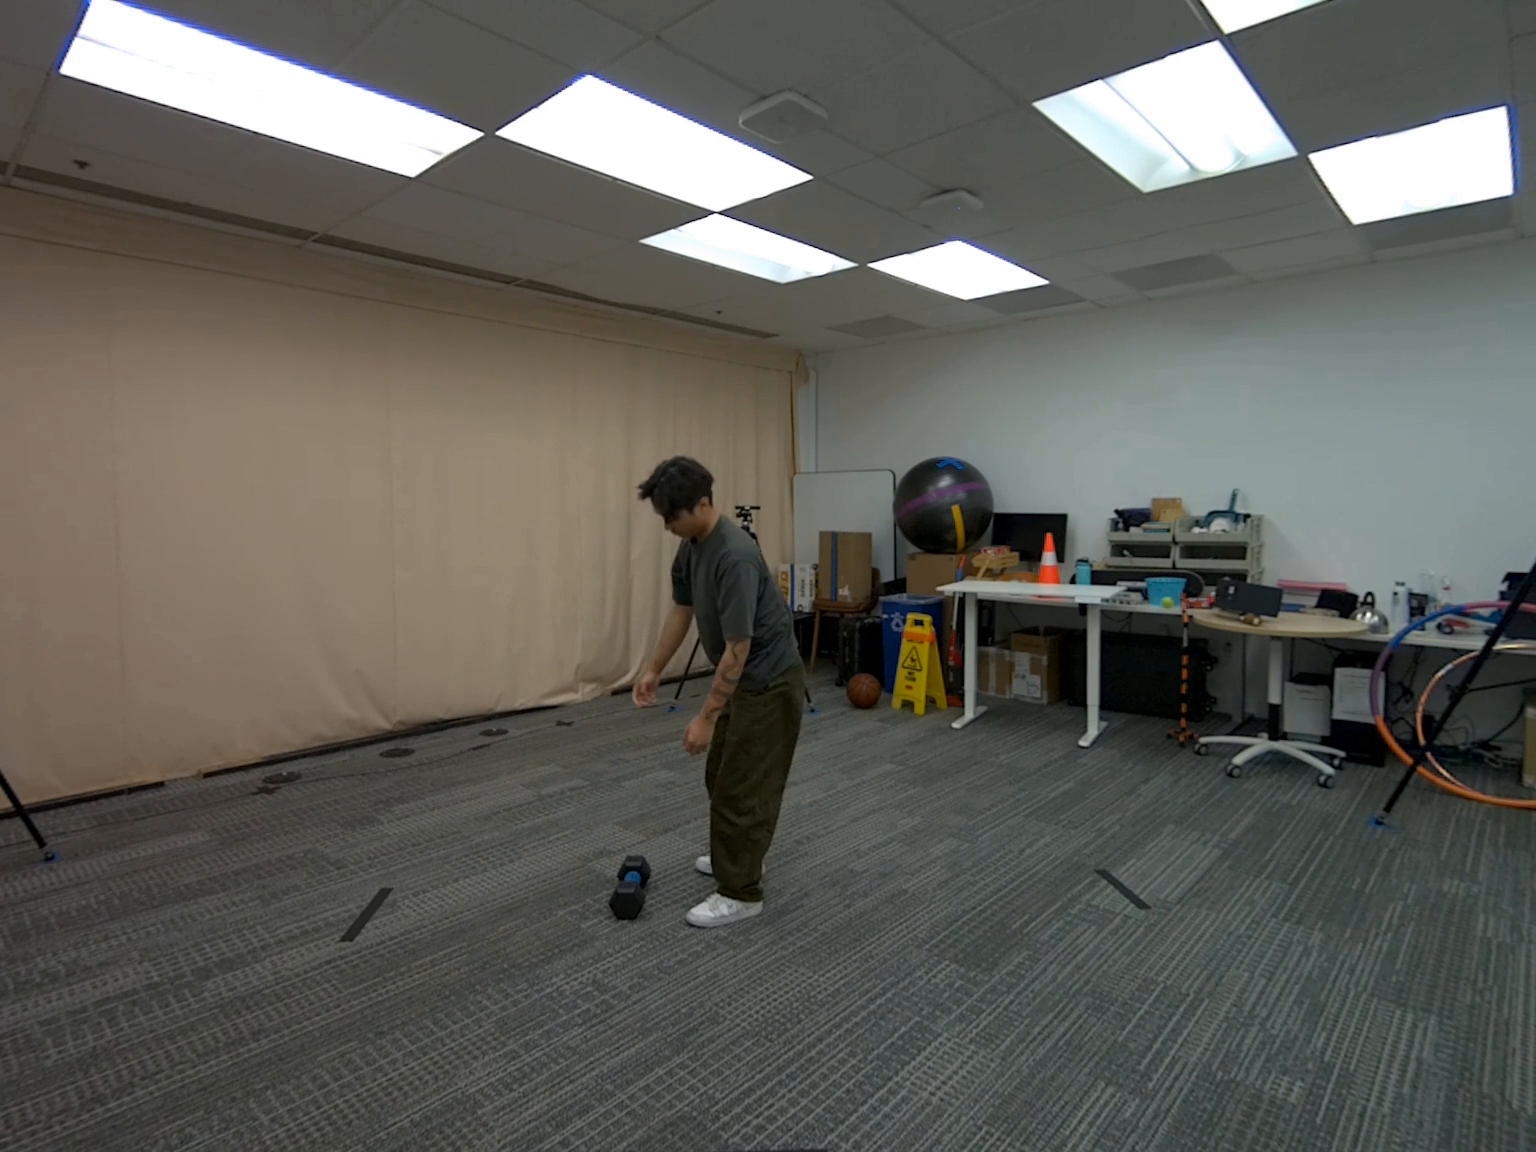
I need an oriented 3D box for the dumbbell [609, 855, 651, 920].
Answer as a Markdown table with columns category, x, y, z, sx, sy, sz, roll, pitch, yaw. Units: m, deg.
| category | x | y | z | sx | sy | sz | roll | pitch | yaw |
| --- | --- | --- | --- | --- | --- | --- | --- | --- | --- |
| dumbbell | -0.486 | 1.101 | 2.970 | 0.109 | 0.122 | 0.294 | -31 | 5 | 1 |
